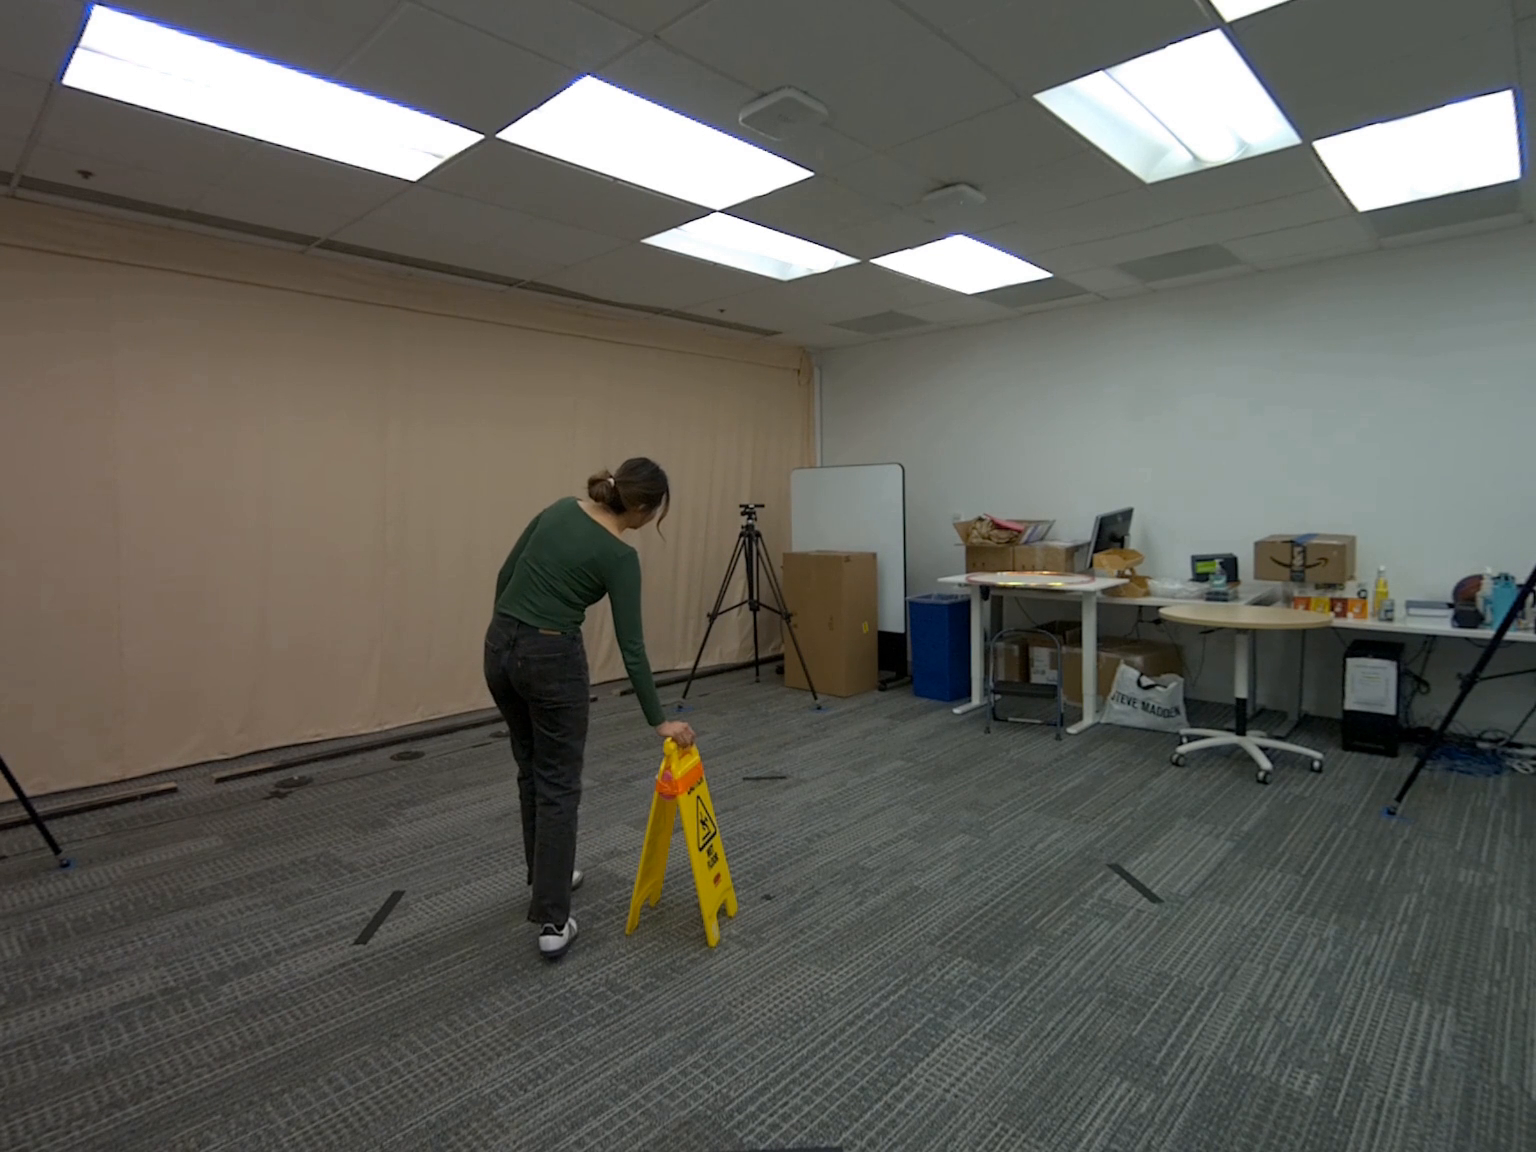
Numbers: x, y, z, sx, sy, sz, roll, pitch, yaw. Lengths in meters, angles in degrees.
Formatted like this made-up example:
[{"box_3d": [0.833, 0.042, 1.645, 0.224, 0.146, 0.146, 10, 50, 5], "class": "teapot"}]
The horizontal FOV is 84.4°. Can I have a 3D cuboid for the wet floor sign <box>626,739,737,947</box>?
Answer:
[{"box_3d": [-0.285, 0.841, 2.797, 0.295, 0.644, 0.278, 1, 5, 17], "class": "wet floor sign"}]
